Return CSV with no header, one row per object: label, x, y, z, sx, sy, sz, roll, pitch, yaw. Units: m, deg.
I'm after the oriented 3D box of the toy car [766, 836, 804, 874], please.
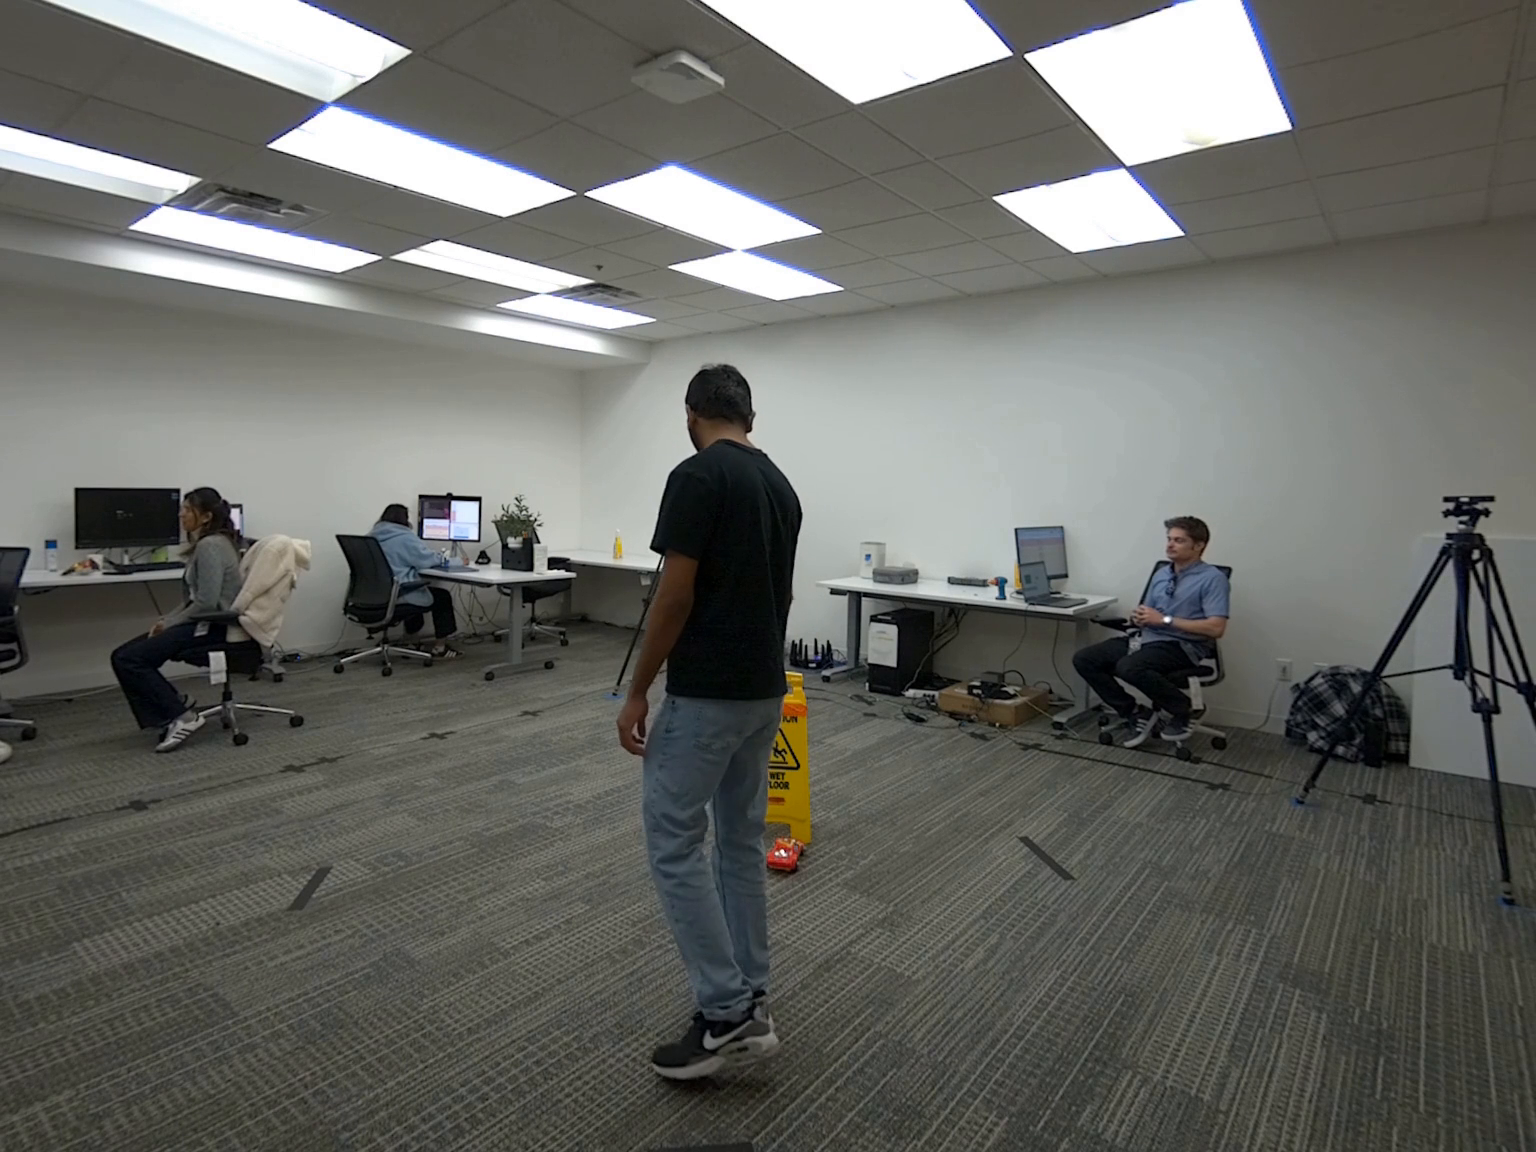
toy car,0.055,1.036,3.174,0.132,0.084,0.249,4,-5,12
